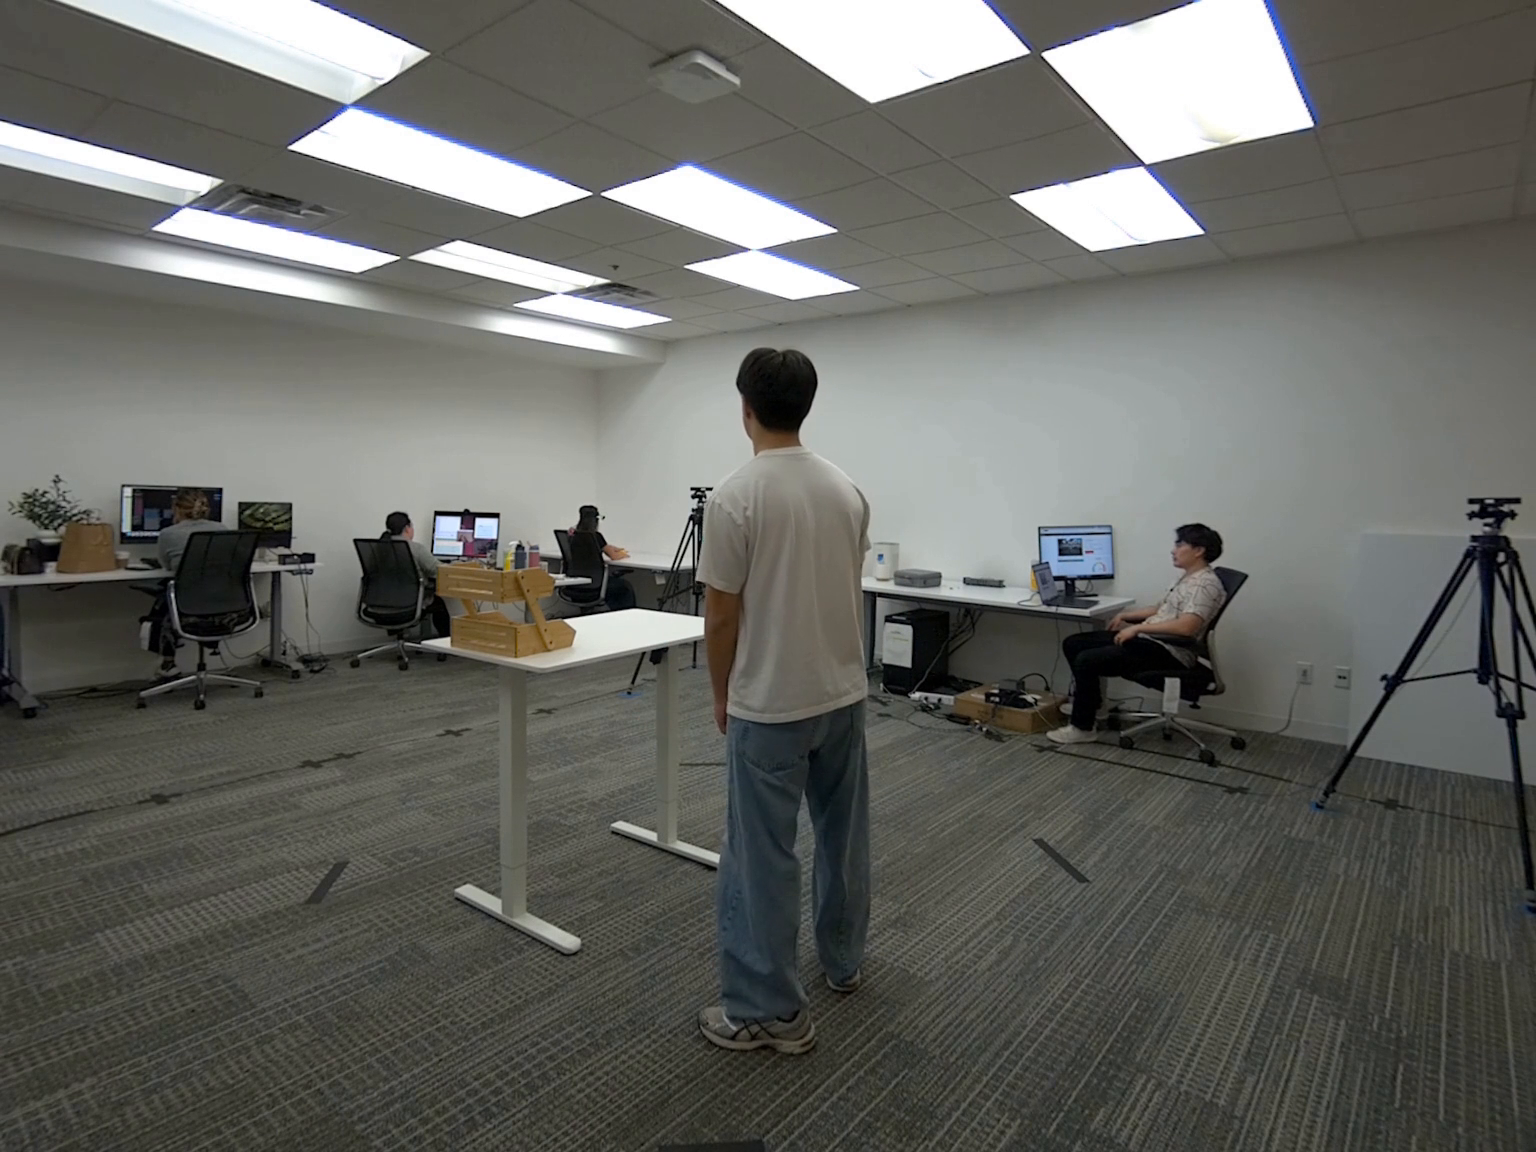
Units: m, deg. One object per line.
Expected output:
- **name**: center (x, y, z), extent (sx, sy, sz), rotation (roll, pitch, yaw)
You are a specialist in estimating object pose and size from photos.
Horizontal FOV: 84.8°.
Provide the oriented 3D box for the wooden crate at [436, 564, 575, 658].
- **wooden crate**: center (-0.822, 0.090, 2.651), extent (0.334, 0.272, 0.294), rotation (4, 6, 31)
